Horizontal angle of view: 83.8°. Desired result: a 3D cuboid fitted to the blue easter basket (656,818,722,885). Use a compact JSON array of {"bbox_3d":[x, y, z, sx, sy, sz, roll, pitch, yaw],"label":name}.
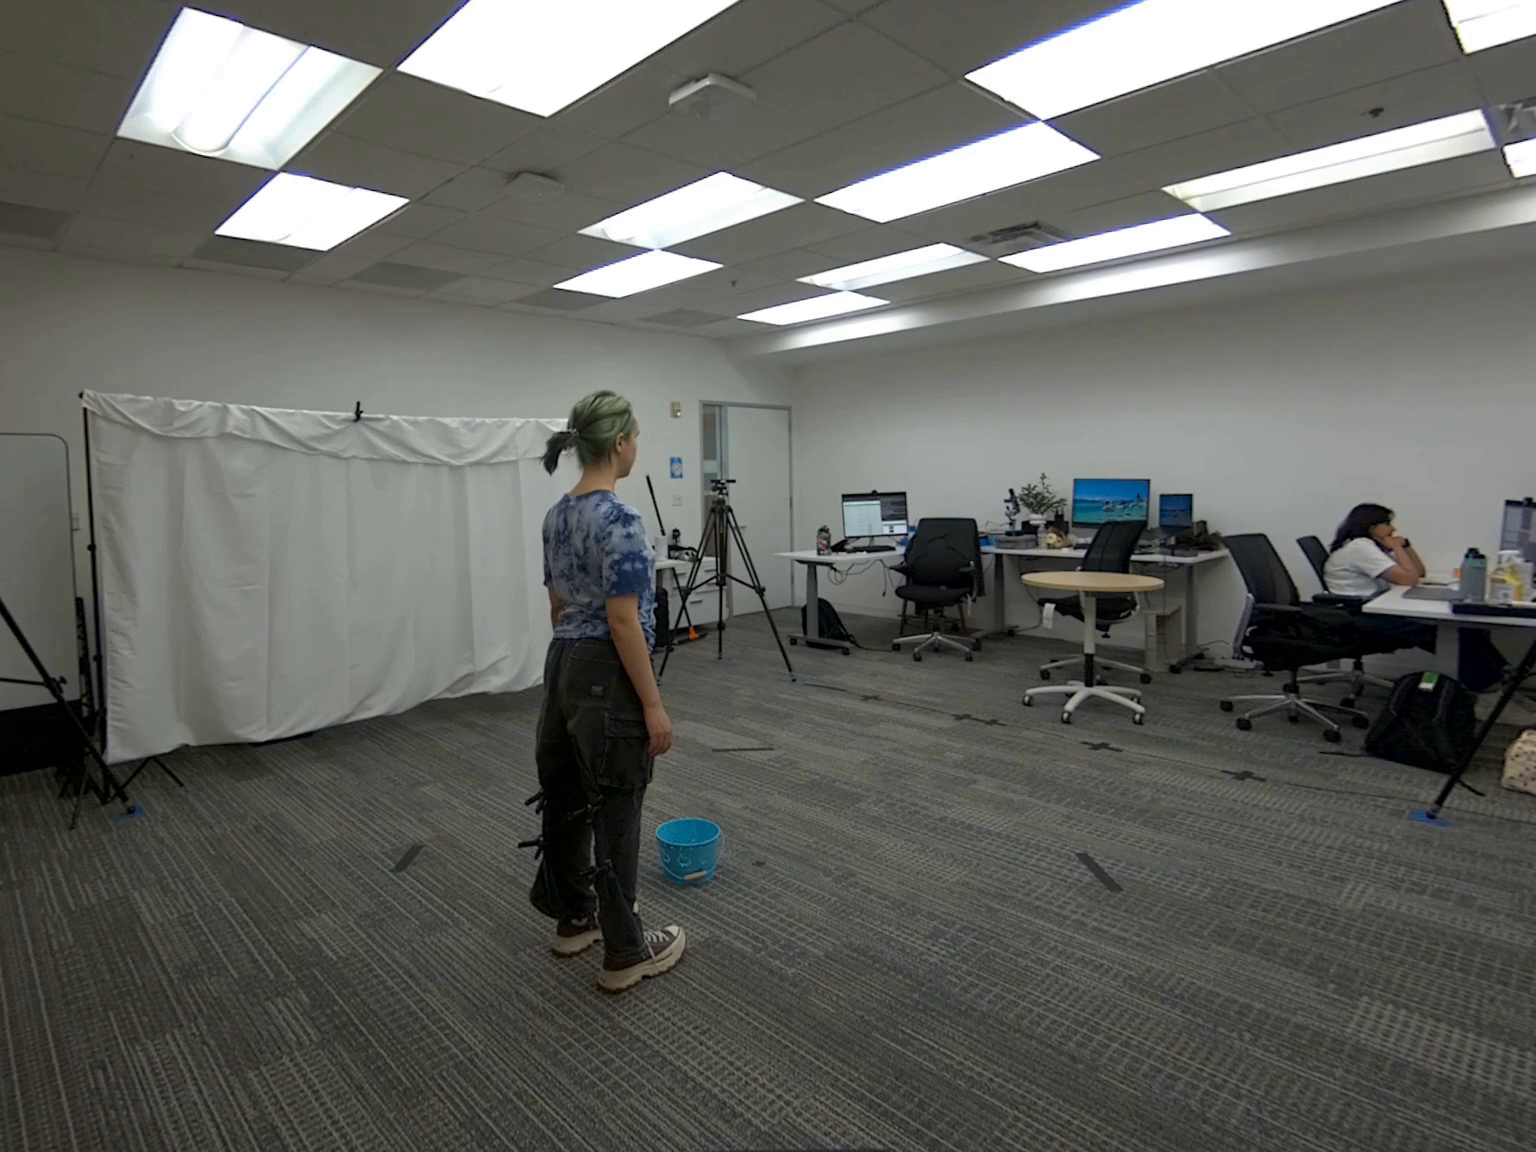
[{"bbox_3d":[-0.285,0.977,3.040,0.243,0.155,0.245,-1,6,-2],"label":"blue easter basket"}]
